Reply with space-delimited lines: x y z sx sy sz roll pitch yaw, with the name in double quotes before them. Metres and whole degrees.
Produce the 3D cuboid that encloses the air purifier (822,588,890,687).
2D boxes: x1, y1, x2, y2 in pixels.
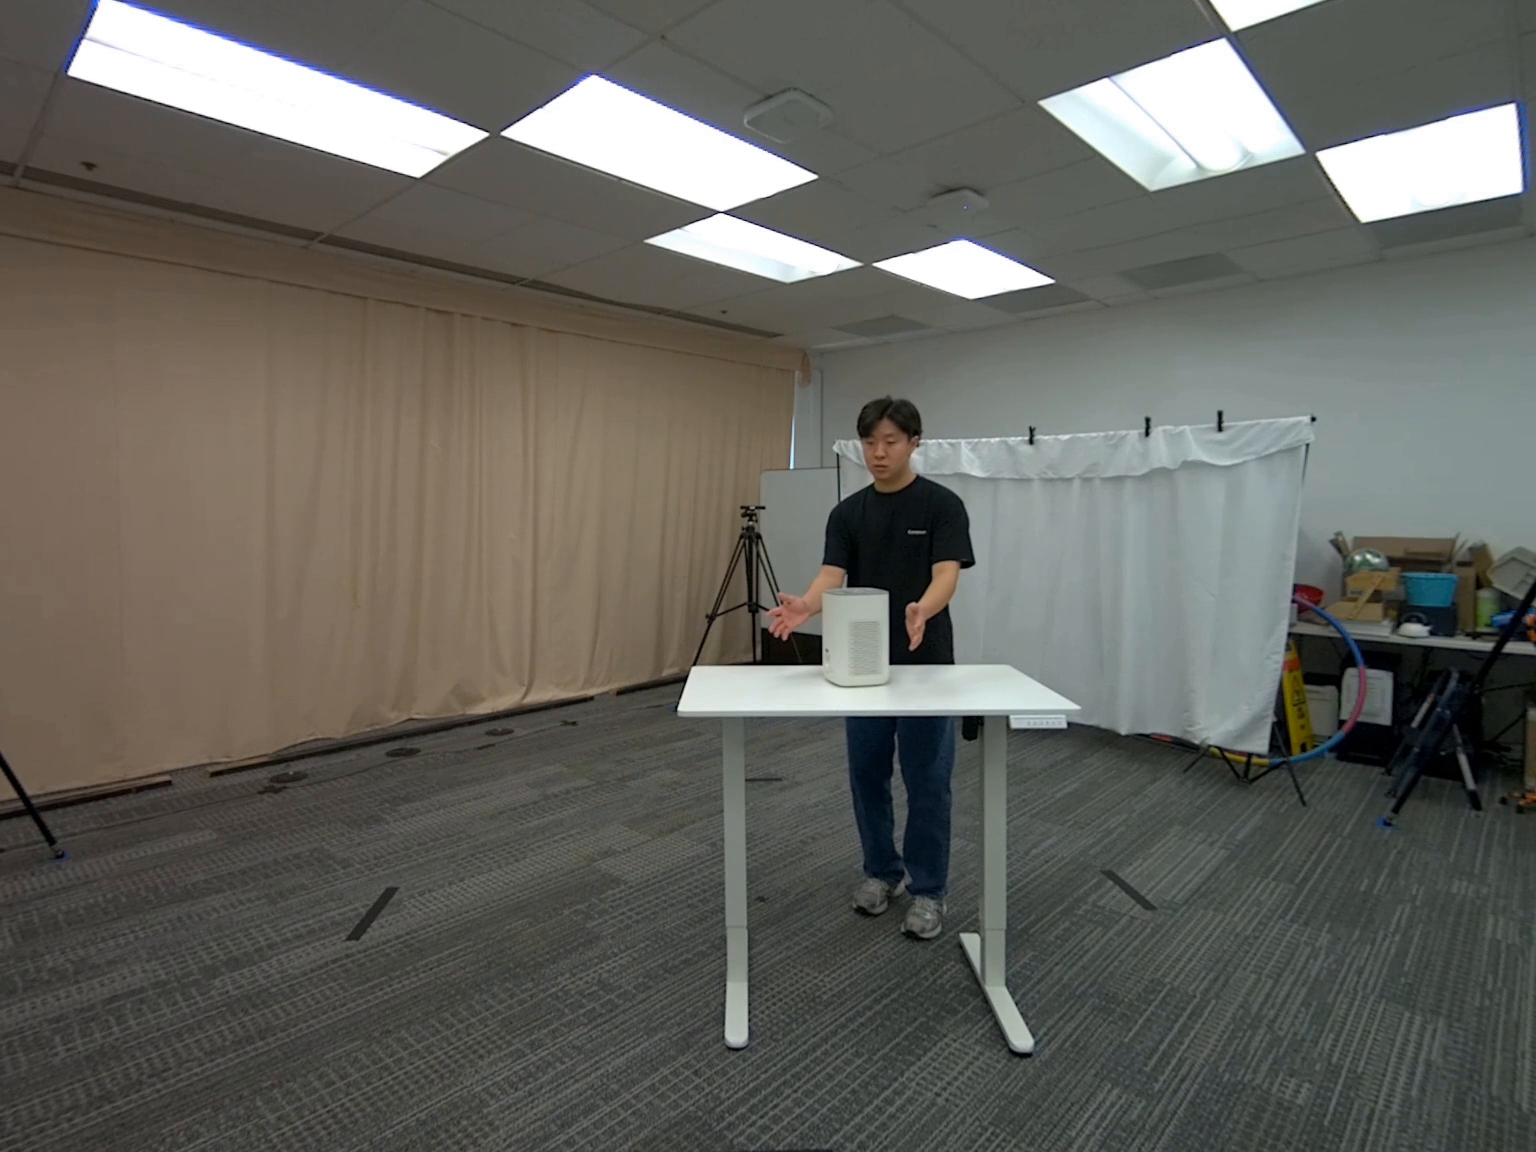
"air purifier" 0.253 0.185 2.417 0.170 0.265 0.173 -3 4 -11
